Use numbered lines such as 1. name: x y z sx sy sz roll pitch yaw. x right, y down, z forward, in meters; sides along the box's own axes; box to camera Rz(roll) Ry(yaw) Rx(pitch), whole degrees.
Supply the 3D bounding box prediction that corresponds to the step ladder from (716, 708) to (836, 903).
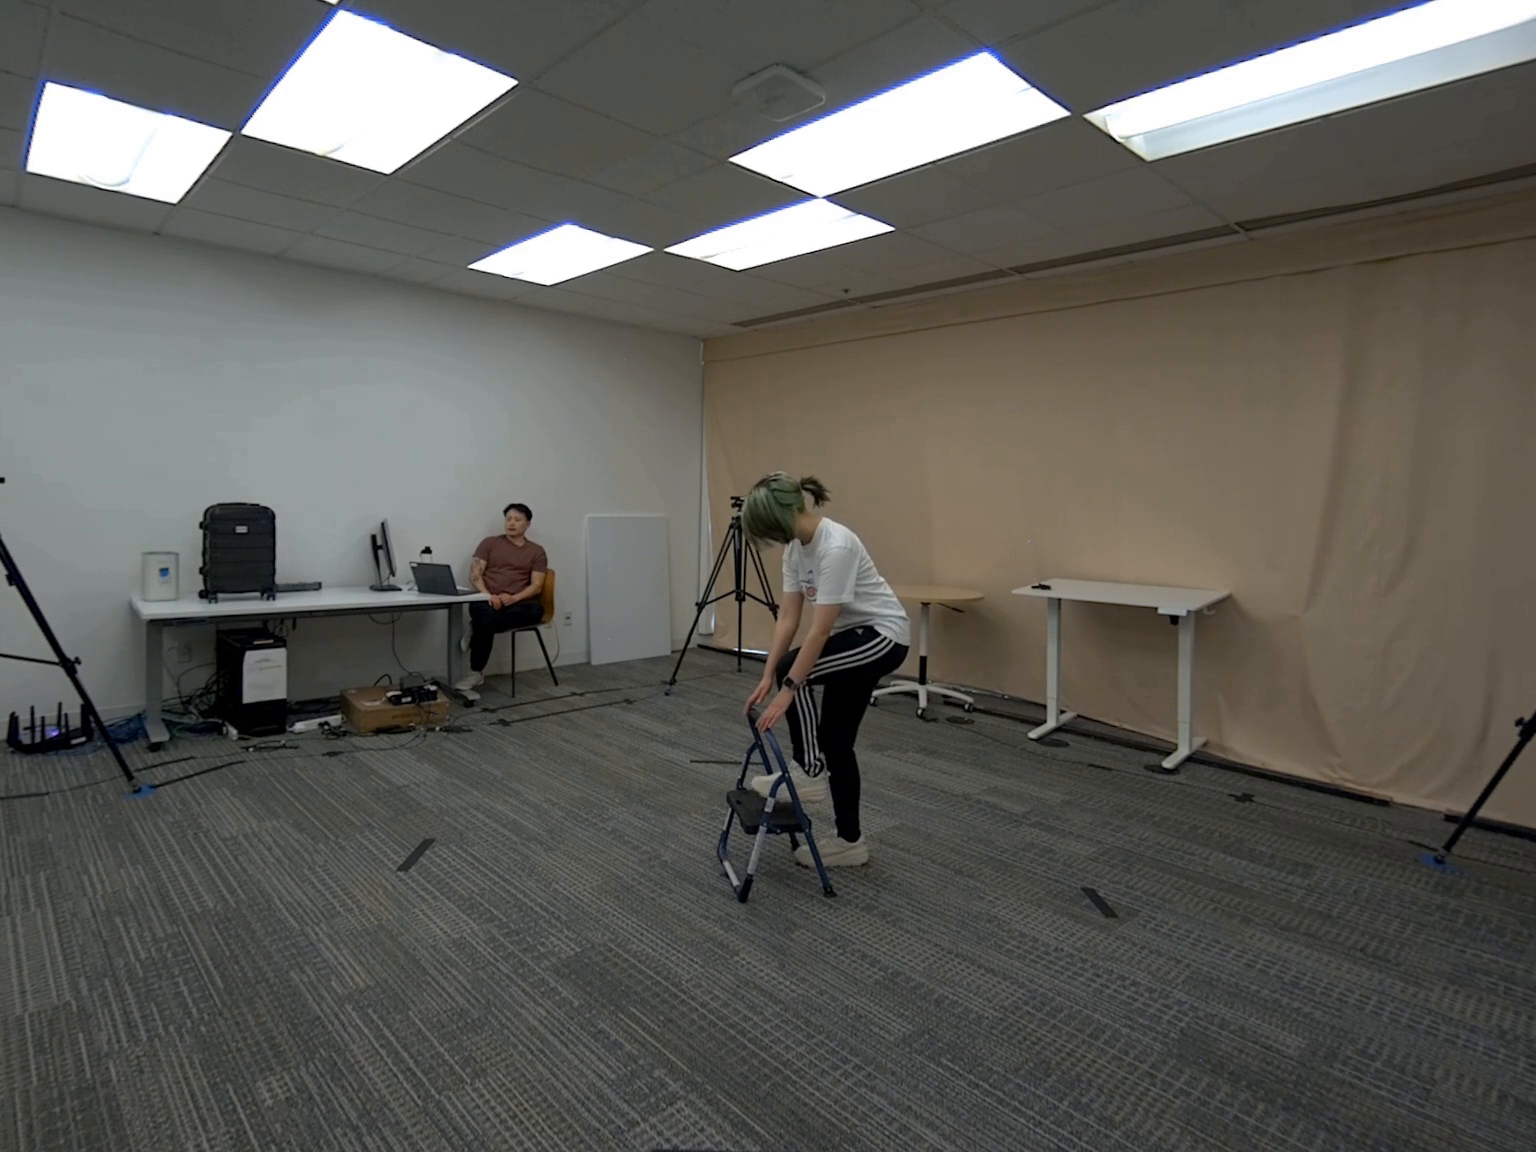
1. step ladder: 0.017 0.806 3.102 0.345 0.605 0.436 1 3 -14
